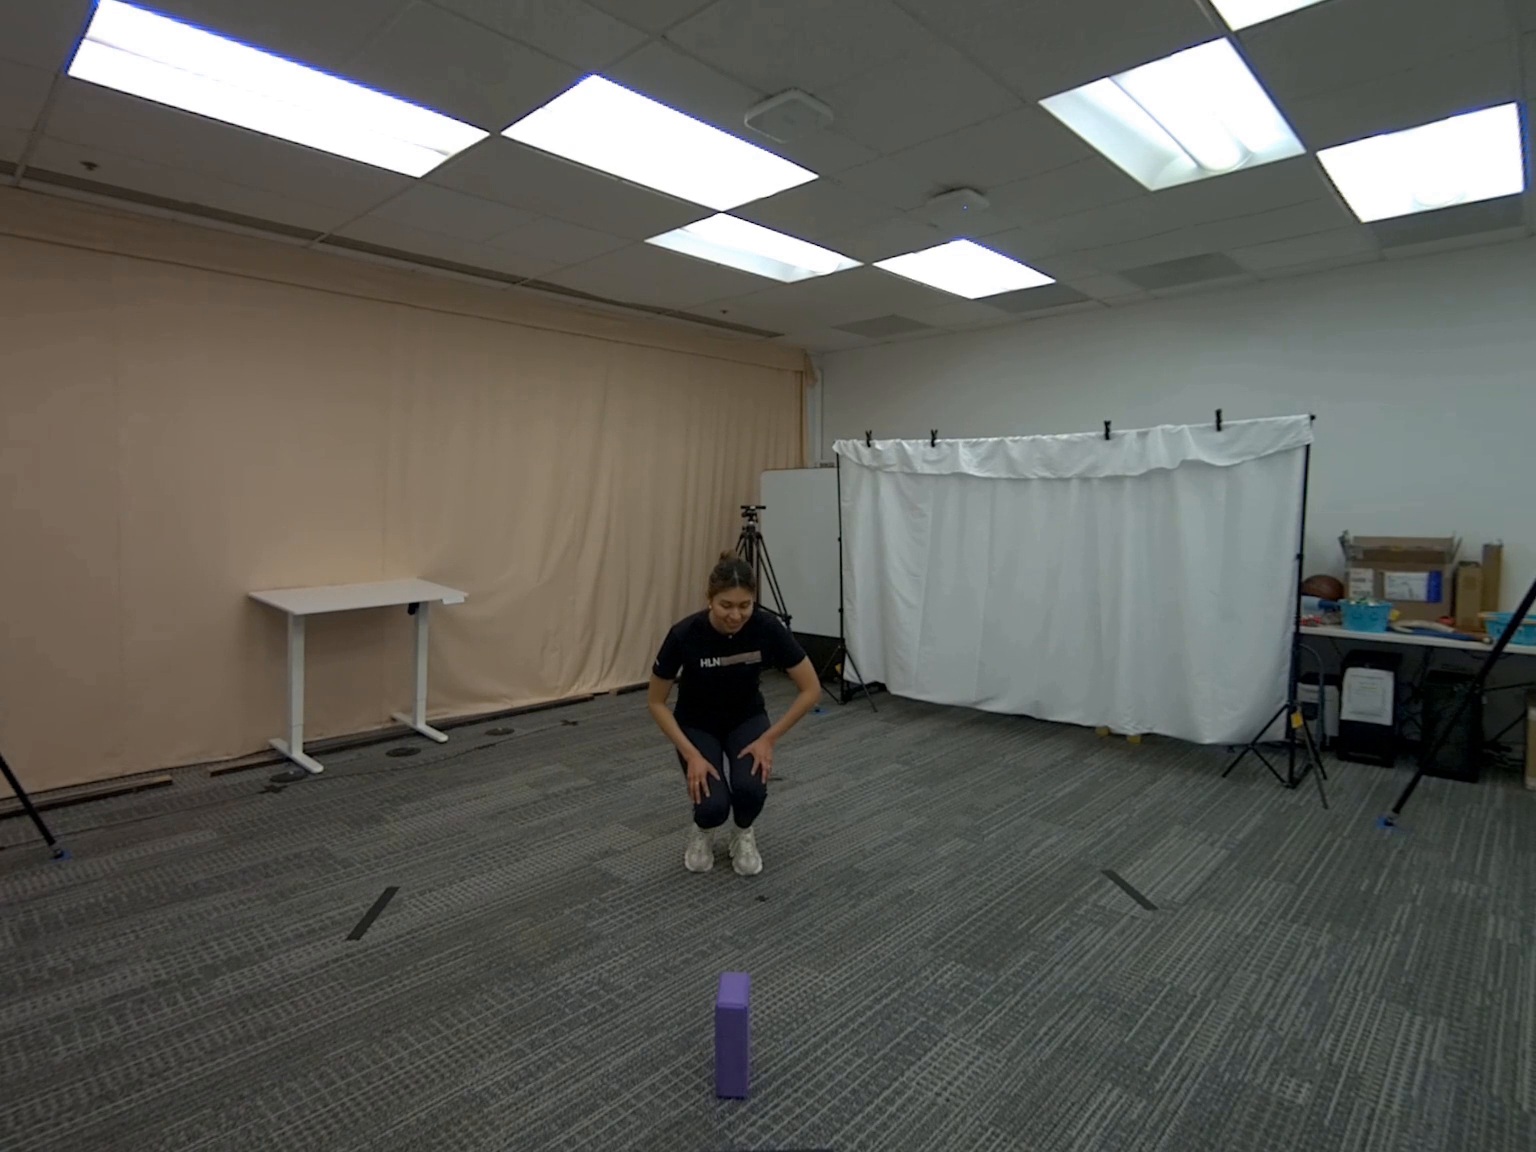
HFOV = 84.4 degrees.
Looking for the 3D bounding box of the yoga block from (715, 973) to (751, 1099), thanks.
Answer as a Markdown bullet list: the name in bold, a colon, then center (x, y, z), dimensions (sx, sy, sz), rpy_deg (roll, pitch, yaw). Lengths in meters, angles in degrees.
- **yoga block**: center (-0.089, 1.105, 2.041), dimensions (0.077, 0.229, 0.148), rpy_deg (0, 3, 3)
